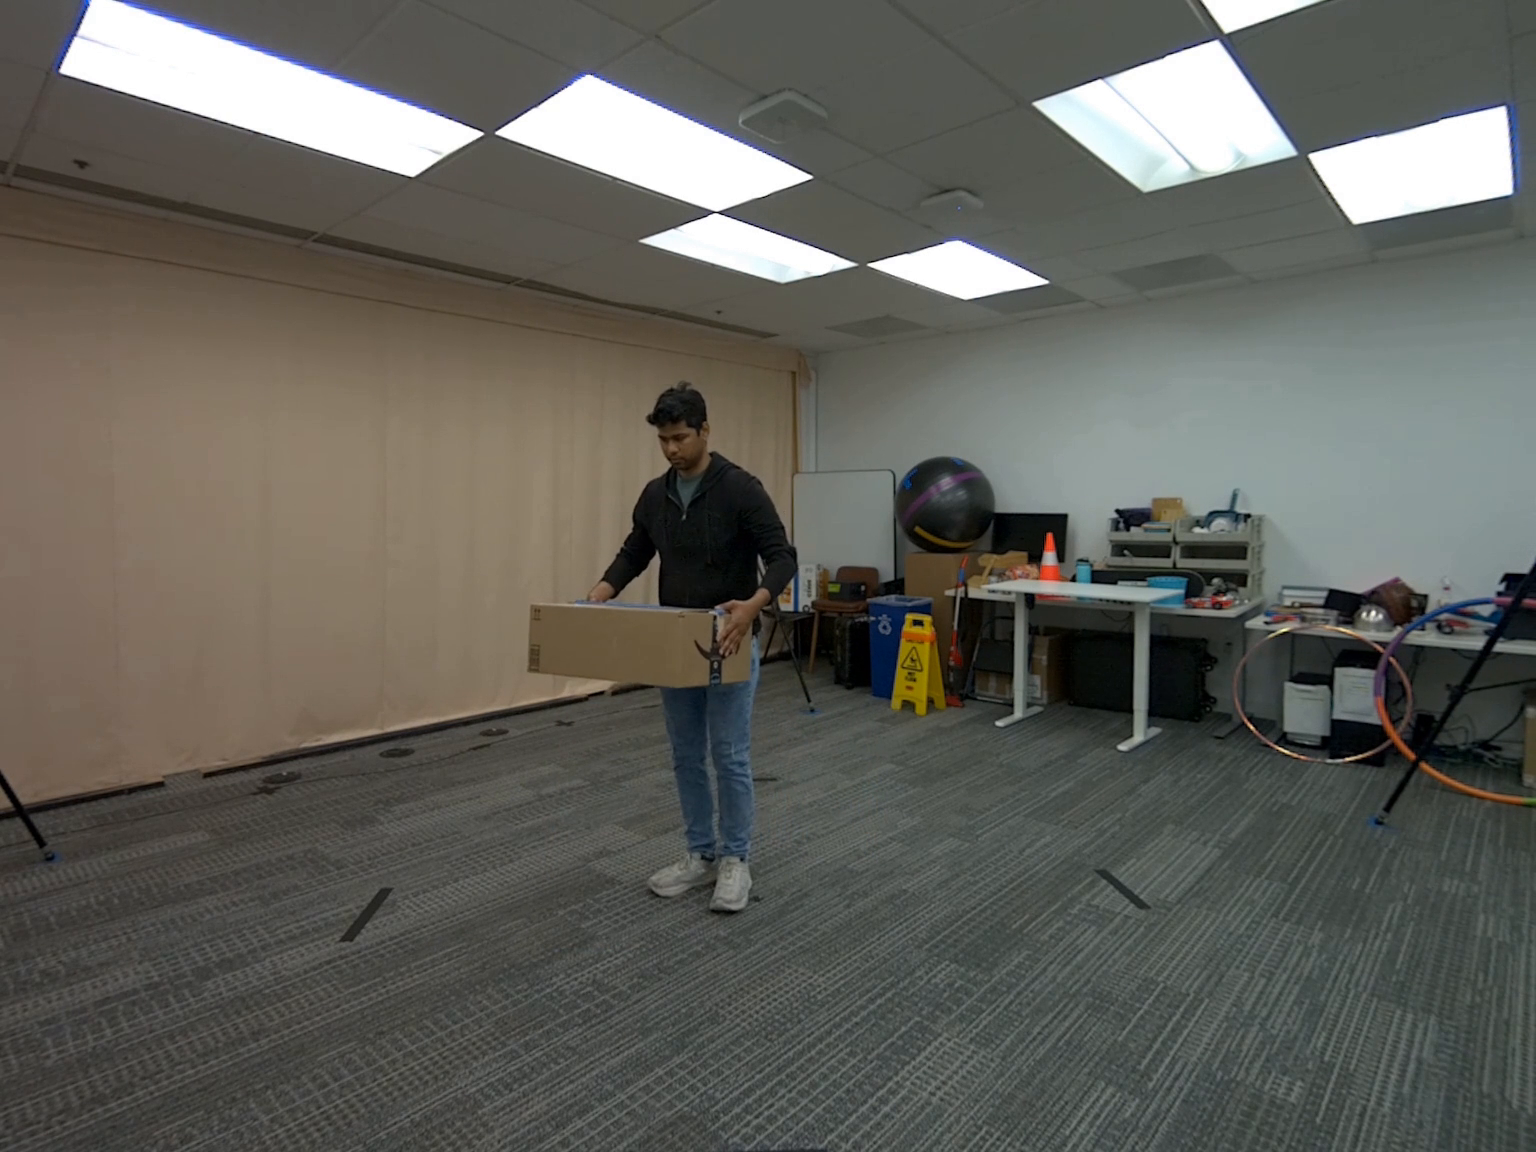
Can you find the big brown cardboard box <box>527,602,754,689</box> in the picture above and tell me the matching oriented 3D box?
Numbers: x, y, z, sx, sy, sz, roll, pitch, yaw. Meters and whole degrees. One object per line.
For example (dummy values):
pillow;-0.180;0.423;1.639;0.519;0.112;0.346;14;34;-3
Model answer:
big brown cardboard box;-0.406;0.213;2.669;0.606;0.233;0.405;3;-1;30
